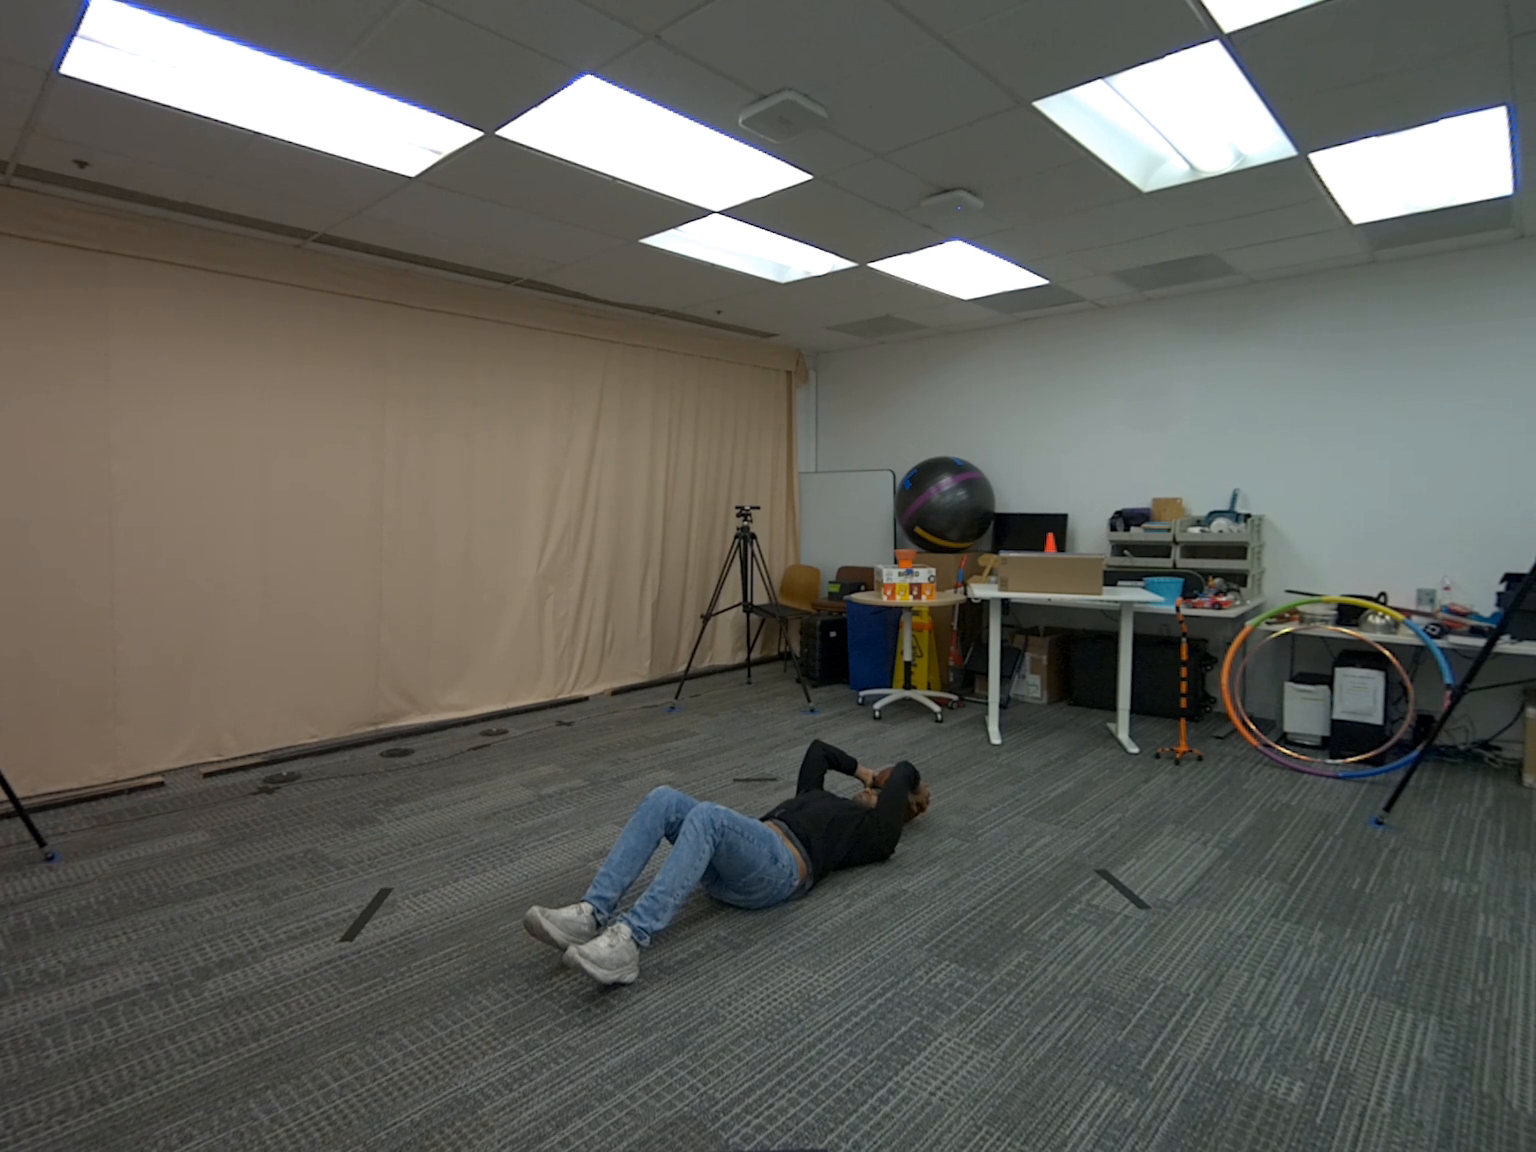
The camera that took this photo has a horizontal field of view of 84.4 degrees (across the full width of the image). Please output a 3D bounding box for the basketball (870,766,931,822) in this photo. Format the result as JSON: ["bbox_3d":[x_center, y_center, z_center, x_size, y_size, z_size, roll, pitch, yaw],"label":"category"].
[{"bbox_3d":[0.587,0.961,3.725,0.236,0.235,0.237,0,4,-2],"label":"basketball"}]
